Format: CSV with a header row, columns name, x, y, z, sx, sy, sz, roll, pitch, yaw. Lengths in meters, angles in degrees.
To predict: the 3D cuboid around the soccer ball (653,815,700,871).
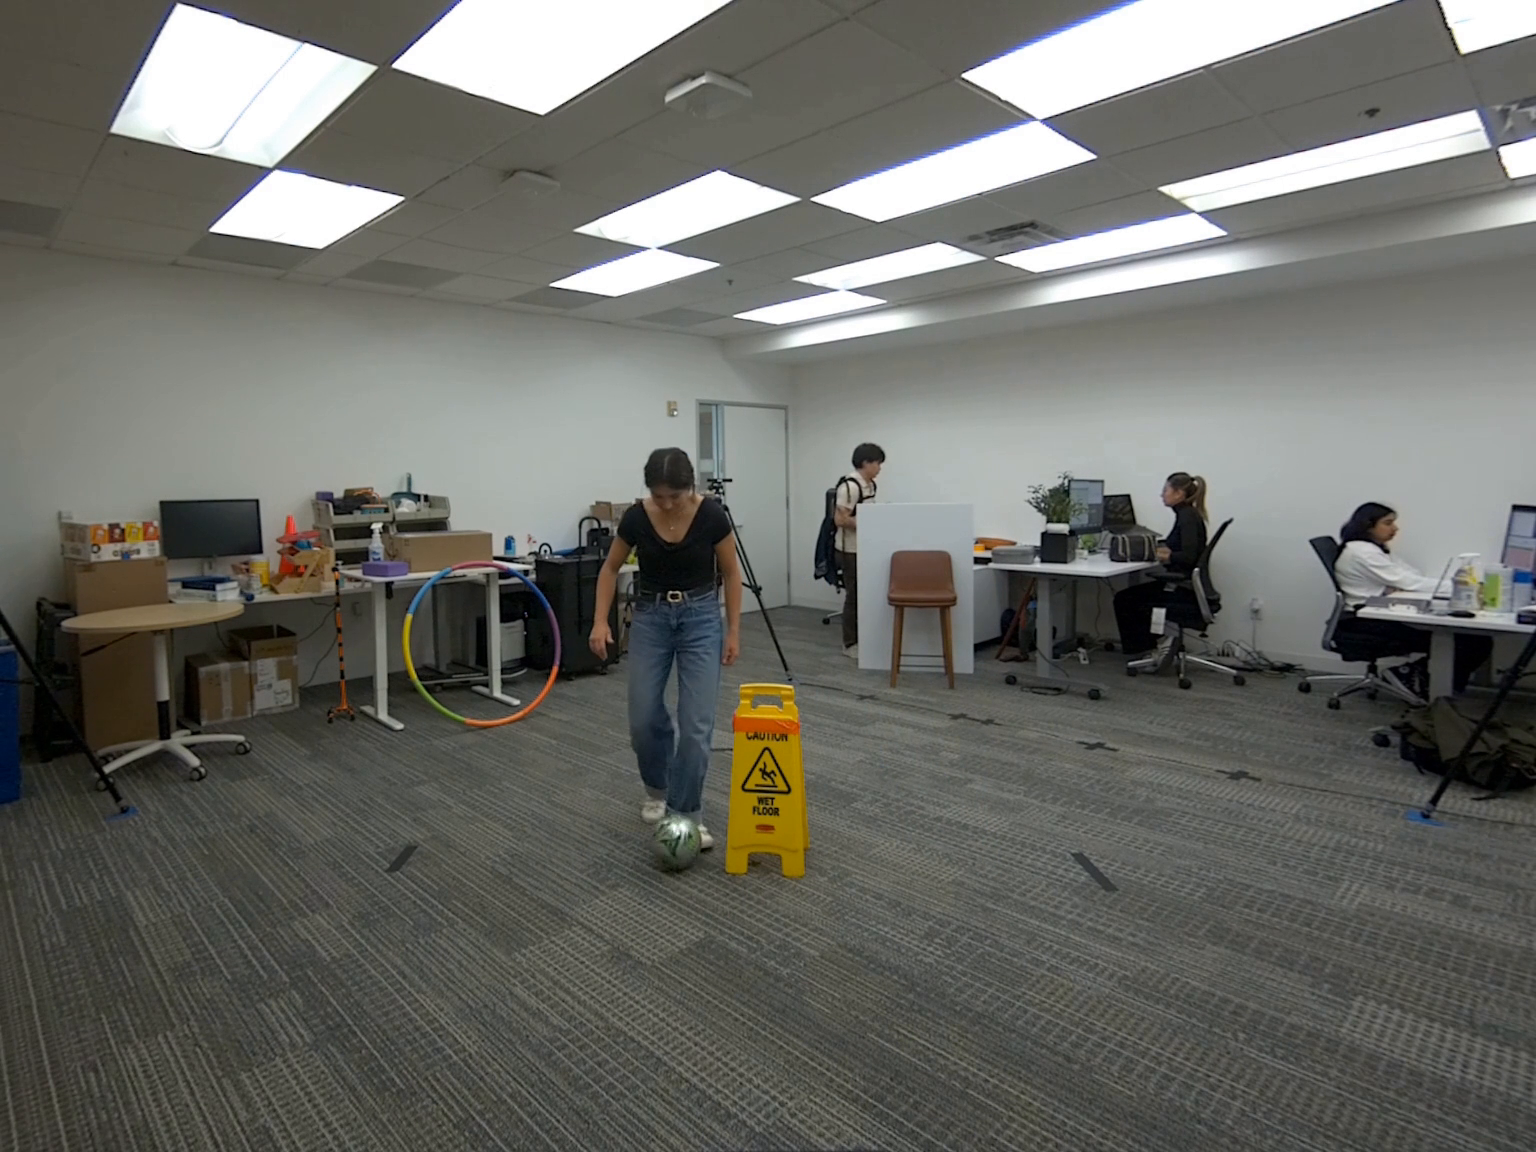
name,x,y,z,sx,sy,sz,roll,pitch,yaw
soccer ball,-0.342,0.966,3.103,0.187,0.187,0.188,-1,5,-2
